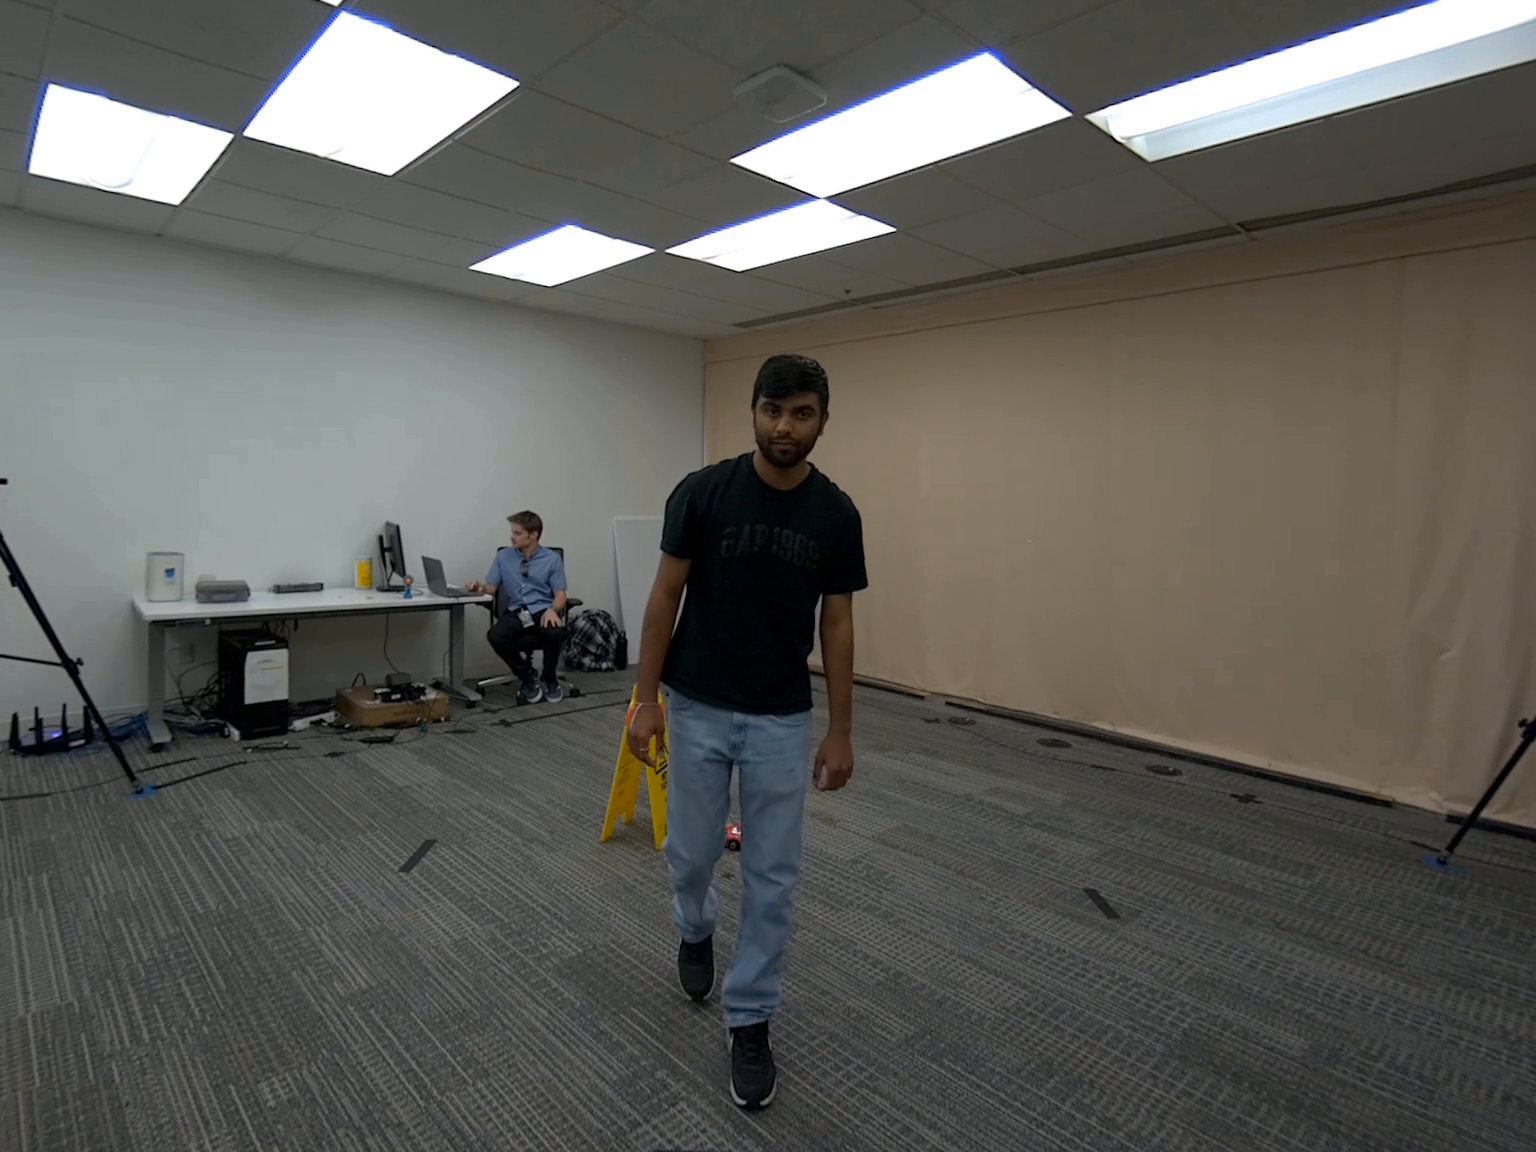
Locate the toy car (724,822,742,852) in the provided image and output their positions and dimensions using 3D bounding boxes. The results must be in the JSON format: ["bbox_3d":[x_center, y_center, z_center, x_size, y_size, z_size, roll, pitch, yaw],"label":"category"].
[{"bbox_3d":[-0.182,1.054,3.389,0.257,0.083,0.129,-8,2,15],"label":"toy car"}]
